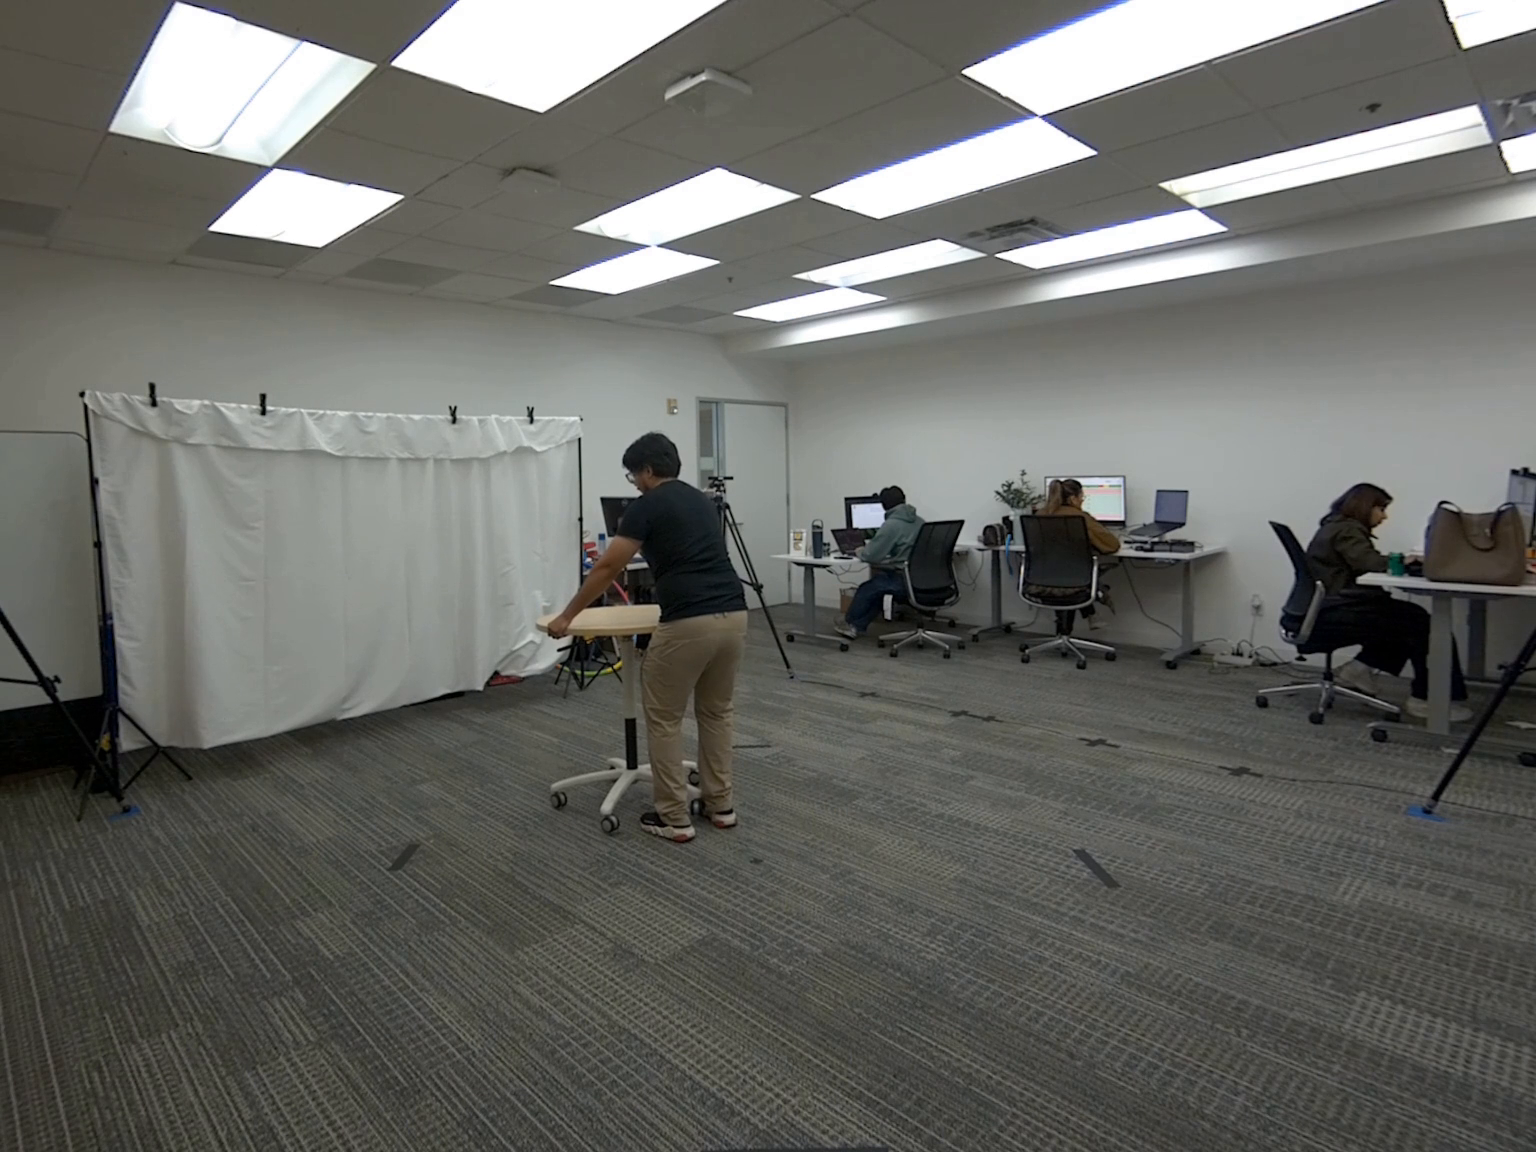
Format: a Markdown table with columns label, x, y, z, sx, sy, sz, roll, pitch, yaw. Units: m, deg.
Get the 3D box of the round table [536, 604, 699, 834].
| label | x | y | z | sx | sy | sz | roll | pitch | yaw |
| --- | --- | --- | --- | --- | --- | --- | --- | --- | --- |
| round table | -0.602 | 0.566 | 3.675 | 0.784 | 0.785 | 0.788 | -3 | 3 | -2 |
